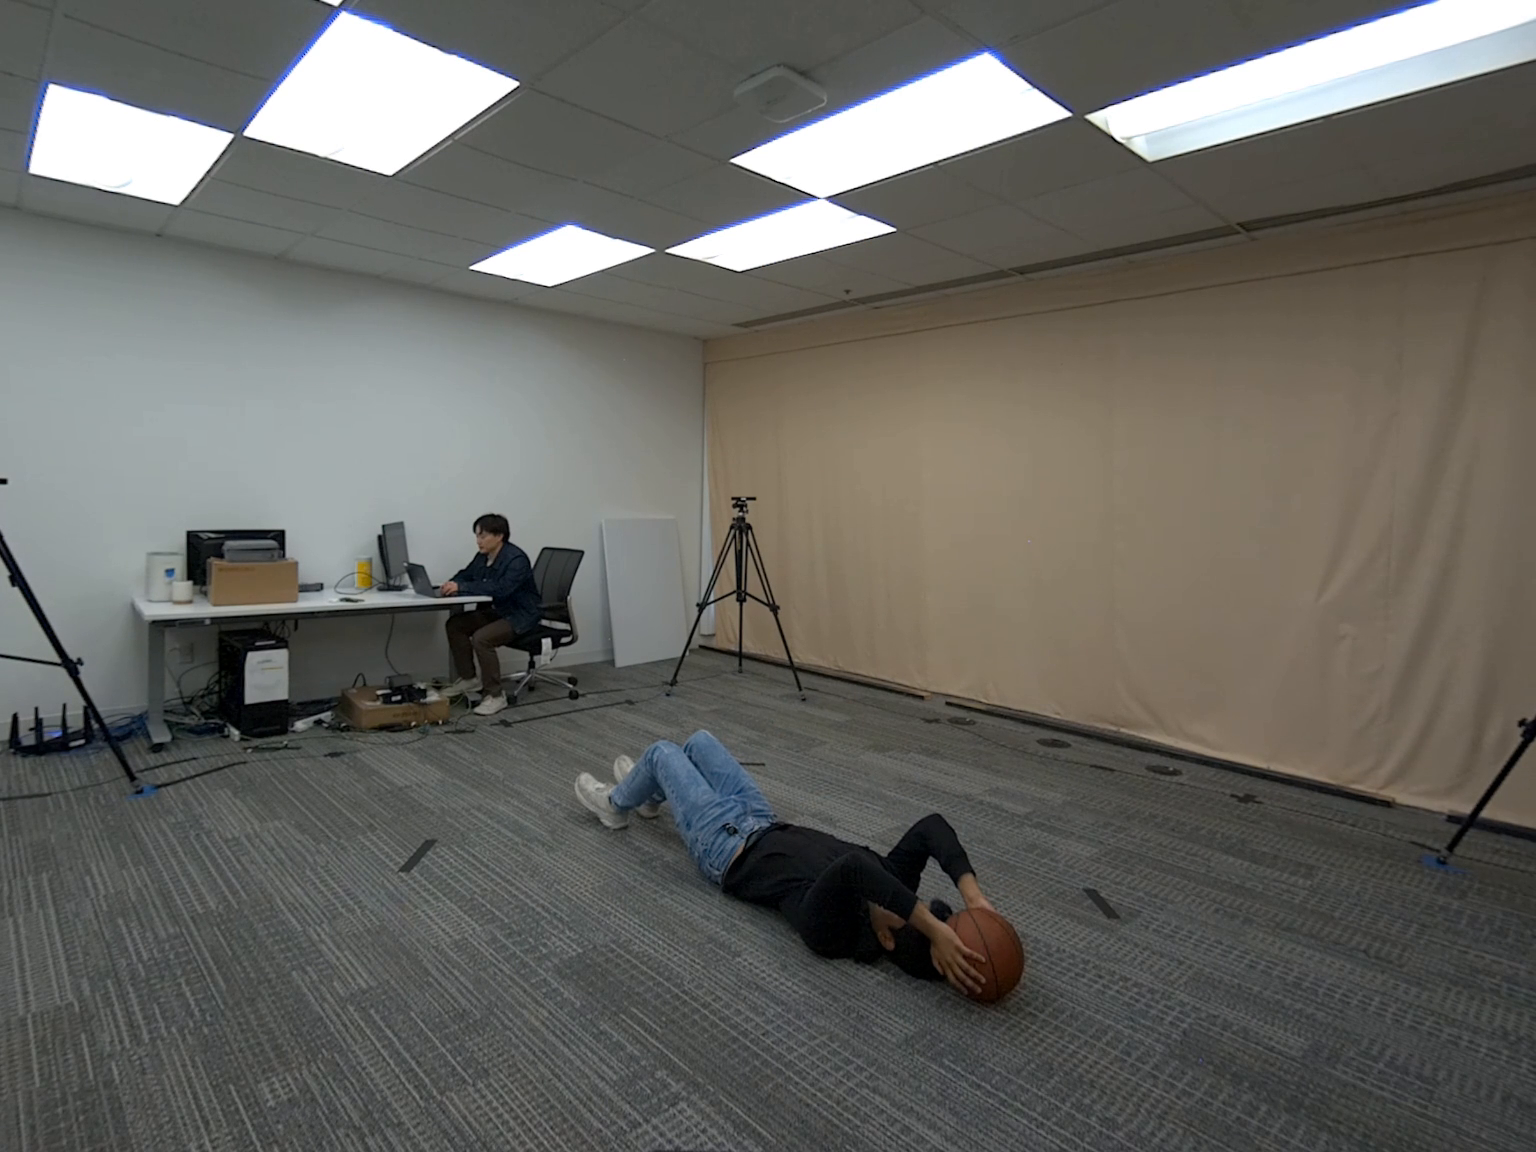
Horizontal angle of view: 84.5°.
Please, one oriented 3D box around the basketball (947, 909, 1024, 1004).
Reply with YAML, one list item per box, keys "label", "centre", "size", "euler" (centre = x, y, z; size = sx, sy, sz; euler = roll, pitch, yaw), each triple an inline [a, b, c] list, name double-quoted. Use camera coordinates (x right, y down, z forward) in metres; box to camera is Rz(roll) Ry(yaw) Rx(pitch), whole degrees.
- label: "basketball"
  centre: [0.594, 1.072, 2.385]
  size: [0.236, 0.235, 0.237]
  euler: [1, 4, -1]
